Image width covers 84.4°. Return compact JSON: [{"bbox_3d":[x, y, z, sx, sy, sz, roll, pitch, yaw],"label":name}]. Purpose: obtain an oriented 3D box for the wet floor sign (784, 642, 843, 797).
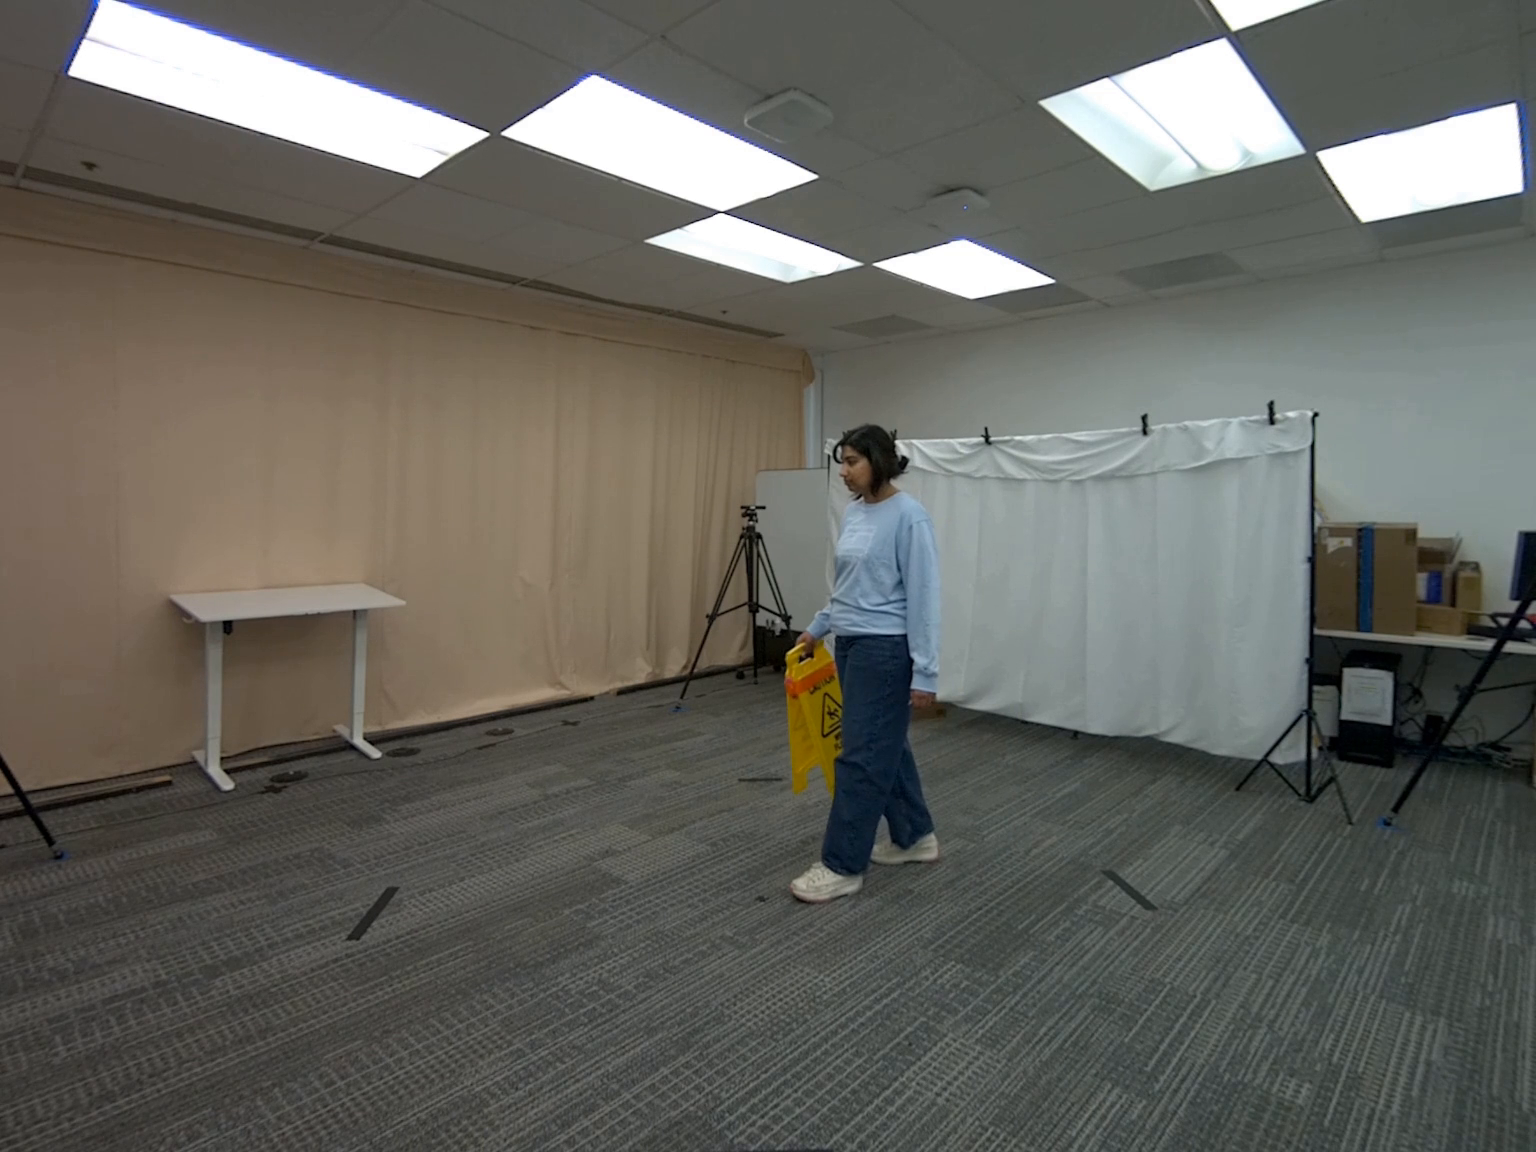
[{"bbox_3d":[0.216,0.574,3.449,0.276,0.639,0.299,-23,17,-36],"label":"wet floor sign"}]
